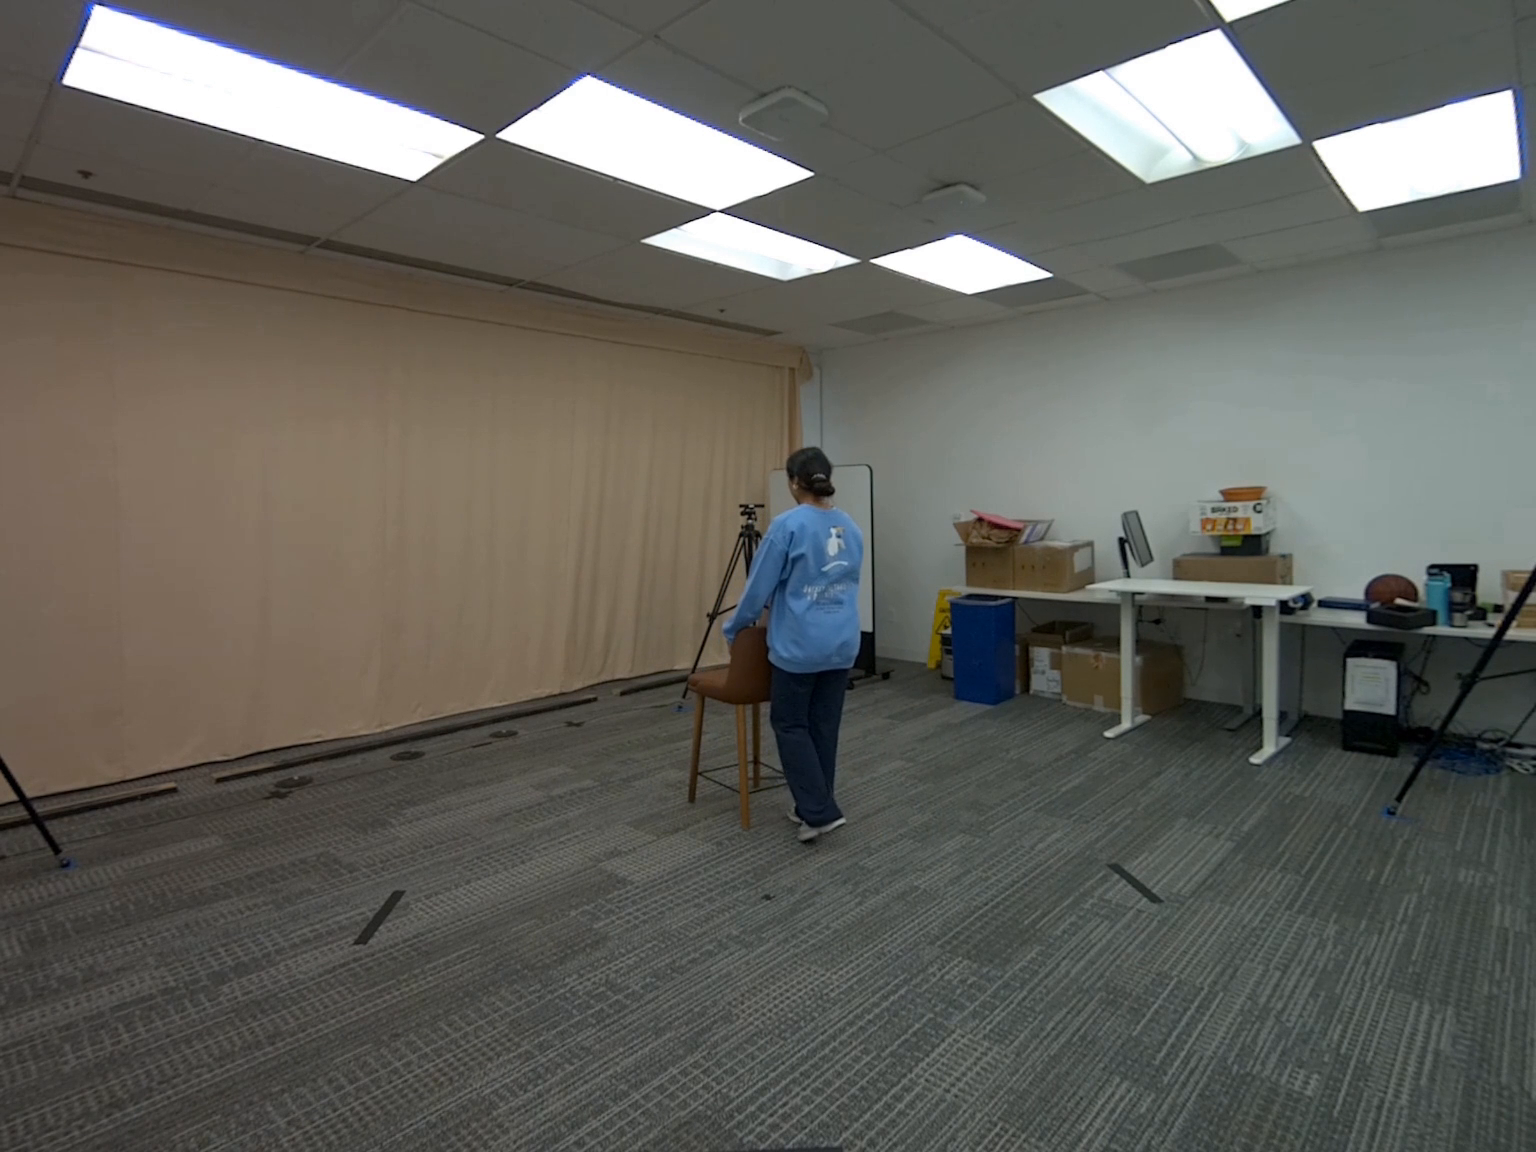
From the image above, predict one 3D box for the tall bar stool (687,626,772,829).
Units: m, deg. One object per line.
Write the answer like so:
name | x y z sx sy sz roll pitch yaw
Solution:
tall bar stool | -0.090 0.625 3.870 0.443 0.887 0.483 -3 6 -35
